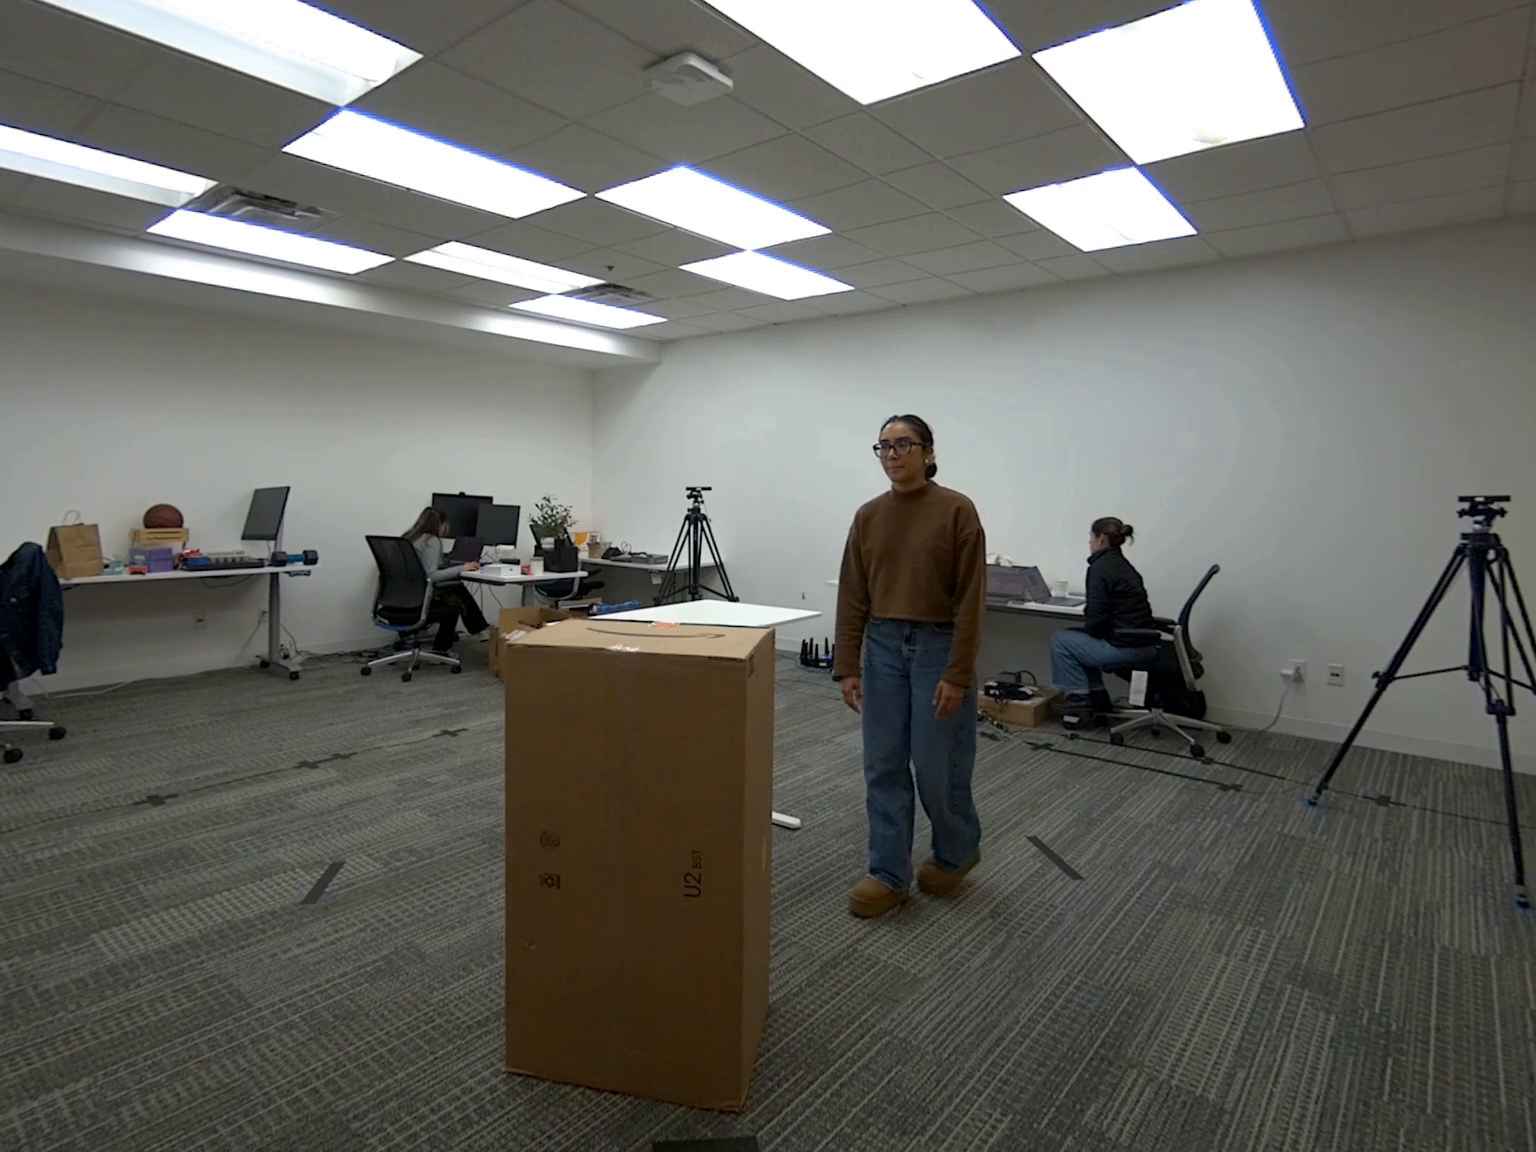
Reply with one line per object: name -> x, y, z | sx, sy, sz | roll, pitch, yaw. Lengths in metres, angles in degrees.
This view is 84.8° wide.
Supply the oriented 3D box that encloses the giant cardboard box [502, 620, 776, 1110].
giant cardboard box -> -0.308, 0.655, 2.128 | 0.585, 1.023, 0.422 | 2, 3, 11
